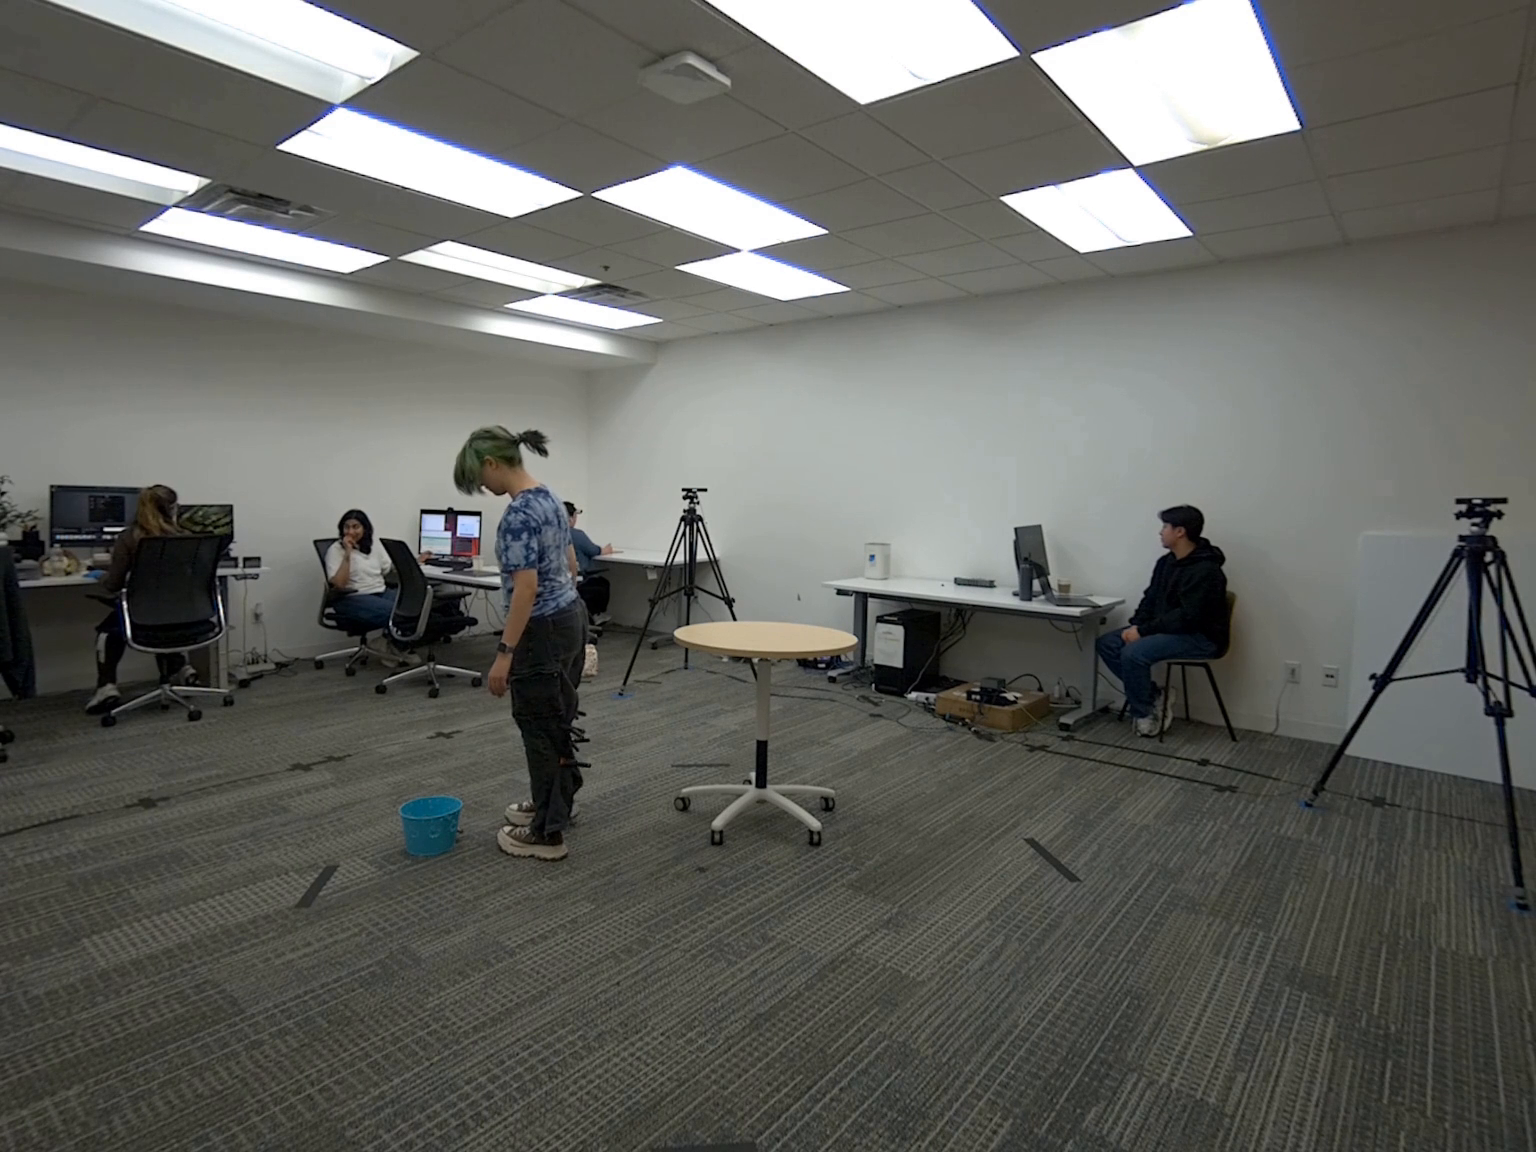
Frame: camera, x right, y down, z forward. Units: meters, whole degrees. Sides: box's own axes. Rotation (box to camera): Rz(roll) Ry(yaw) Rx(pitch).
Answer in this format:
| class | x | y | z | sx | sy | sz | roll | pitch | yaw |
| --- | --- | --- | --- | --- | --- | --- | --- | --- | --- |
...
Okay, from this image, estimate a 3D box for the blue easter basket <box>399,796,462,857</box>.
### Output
| class | x | y | z | sx | sy | sz | roll | pitch | yaw |
| --- | --- | --- | --- | --- | --- | --- | --- | --- | --- |
| blue easter basket | -1.303 | 0.959 | 3.277 | 0.243 | 0.155 | 0.245 | 0 | 6 | -2 |
